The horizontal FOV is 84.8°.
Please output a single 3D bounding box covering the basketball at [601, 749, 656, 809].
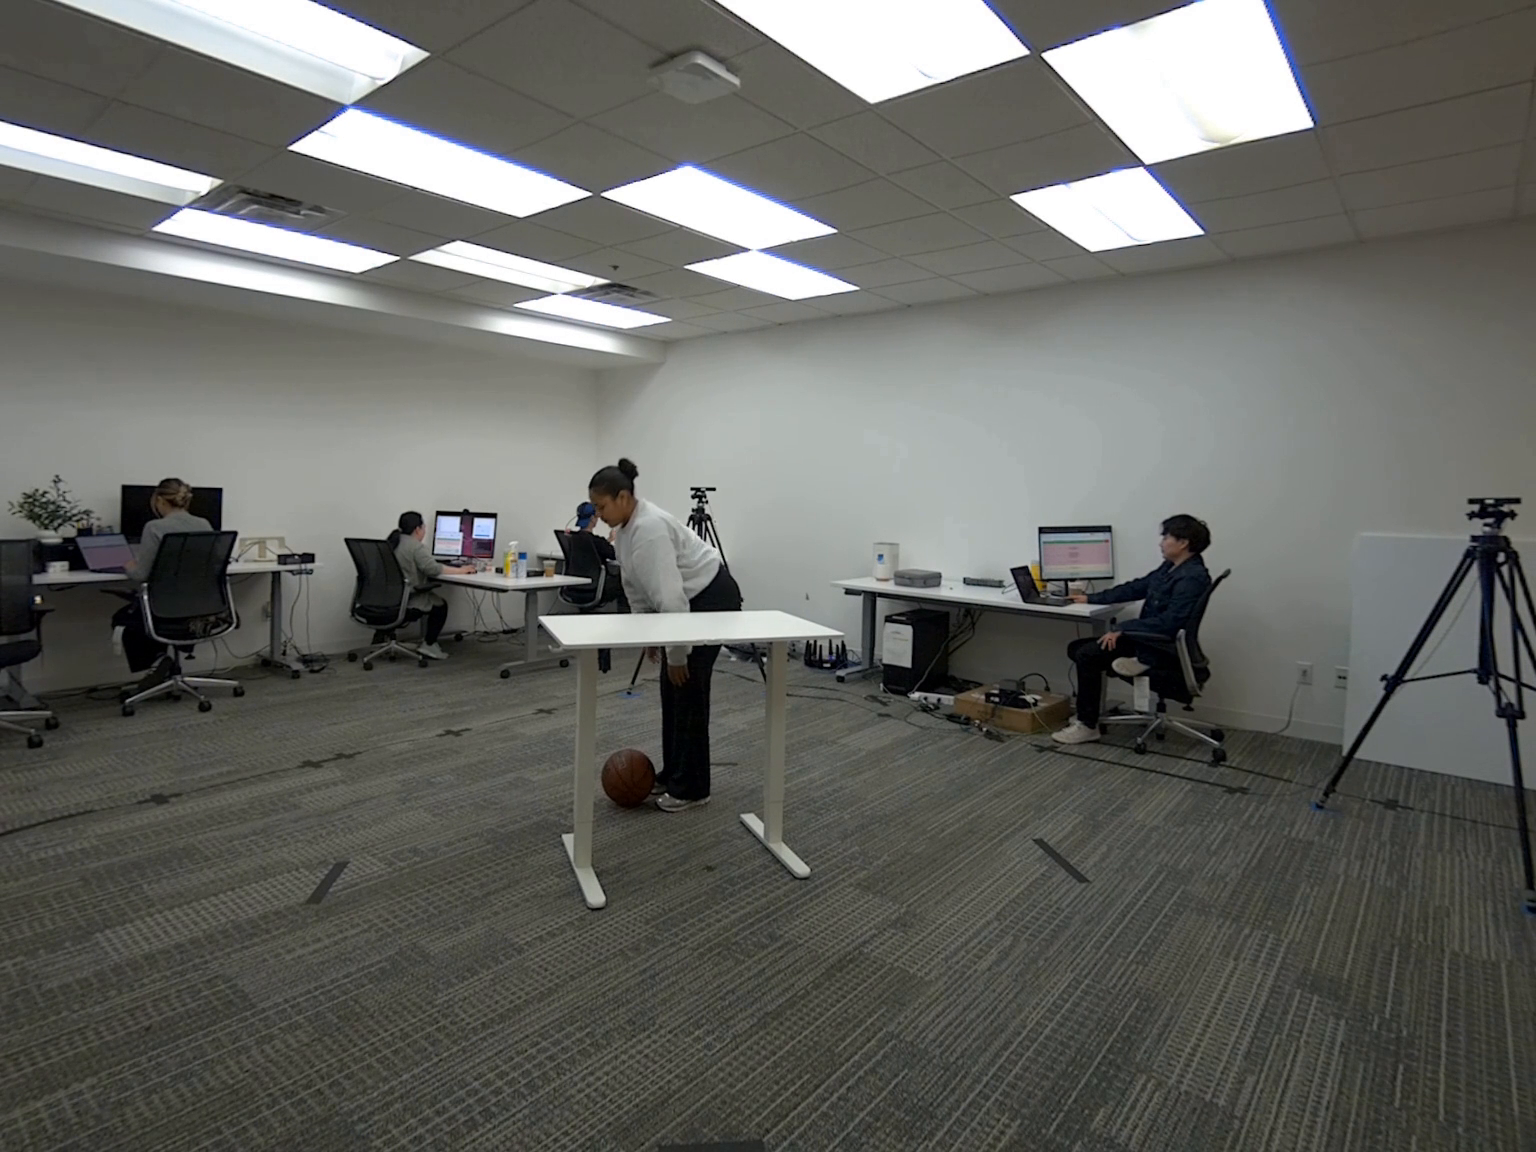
[{"bbox_3d":[-0.622,0.879,3.735,0.235,0.235,0.237,1,4,-2],"label":"basketball"}]
